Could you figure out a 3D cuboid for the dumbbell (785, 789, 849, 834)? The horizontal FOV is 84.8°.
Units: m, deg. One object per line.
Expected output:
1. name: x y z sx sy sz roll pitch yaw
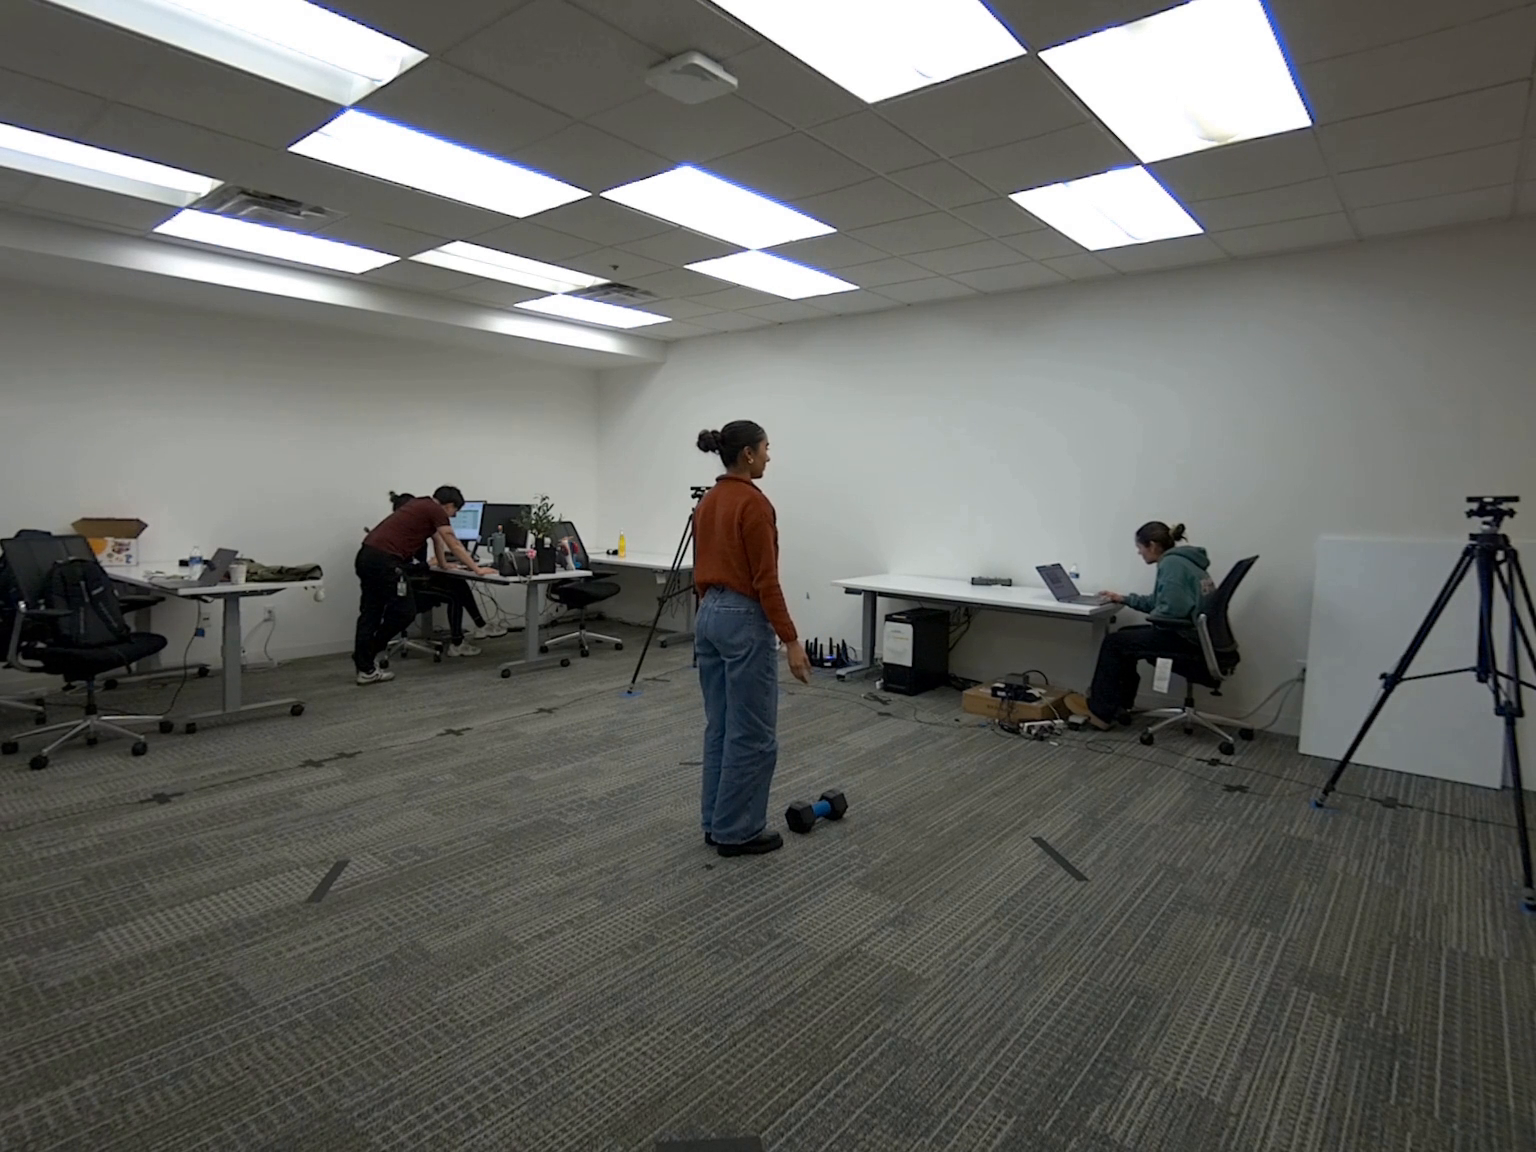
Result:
1. dumbbell: 0.197 0.975 3.547 0.285 0.126 0.109 -4 -25 -45
